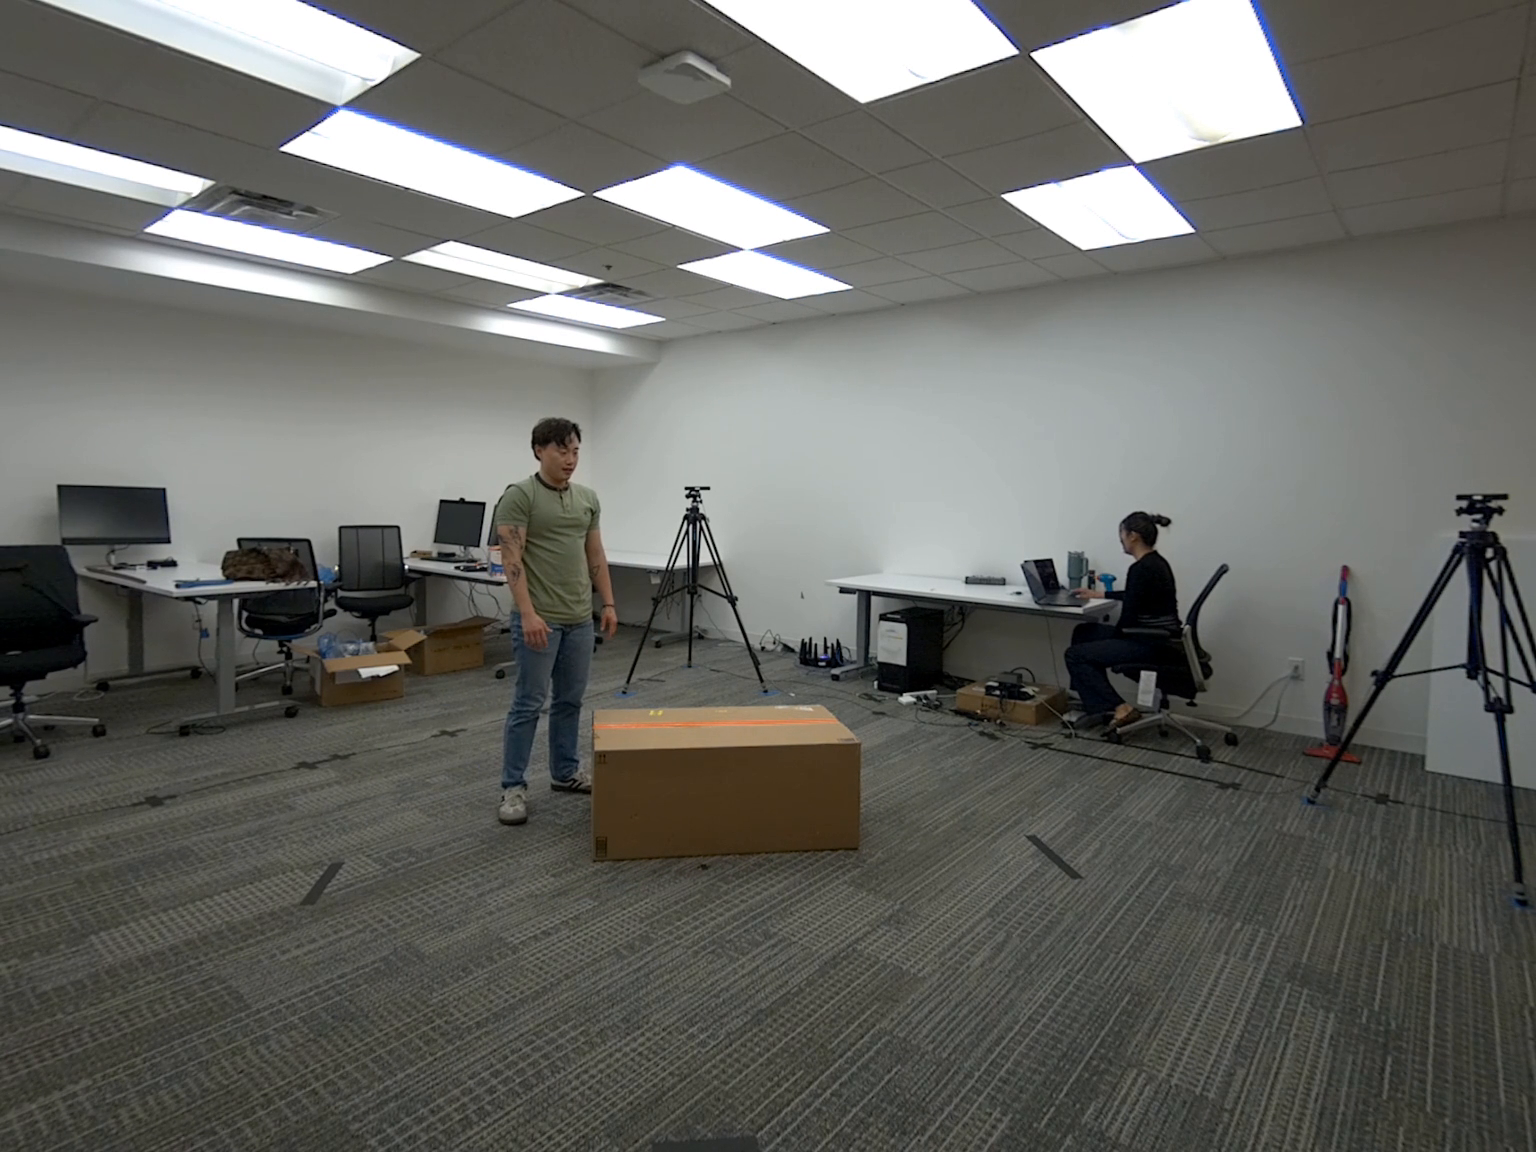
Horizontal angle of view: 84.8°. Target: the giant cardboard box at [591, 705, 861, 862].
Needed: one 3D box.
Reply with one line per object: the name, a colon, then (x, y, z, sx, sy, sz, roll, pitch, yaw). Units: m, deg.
giant cardboard box: (-0.210, 0.812, 3.484, 1.016, 0.425, 0.585, 0, 4, -9)
